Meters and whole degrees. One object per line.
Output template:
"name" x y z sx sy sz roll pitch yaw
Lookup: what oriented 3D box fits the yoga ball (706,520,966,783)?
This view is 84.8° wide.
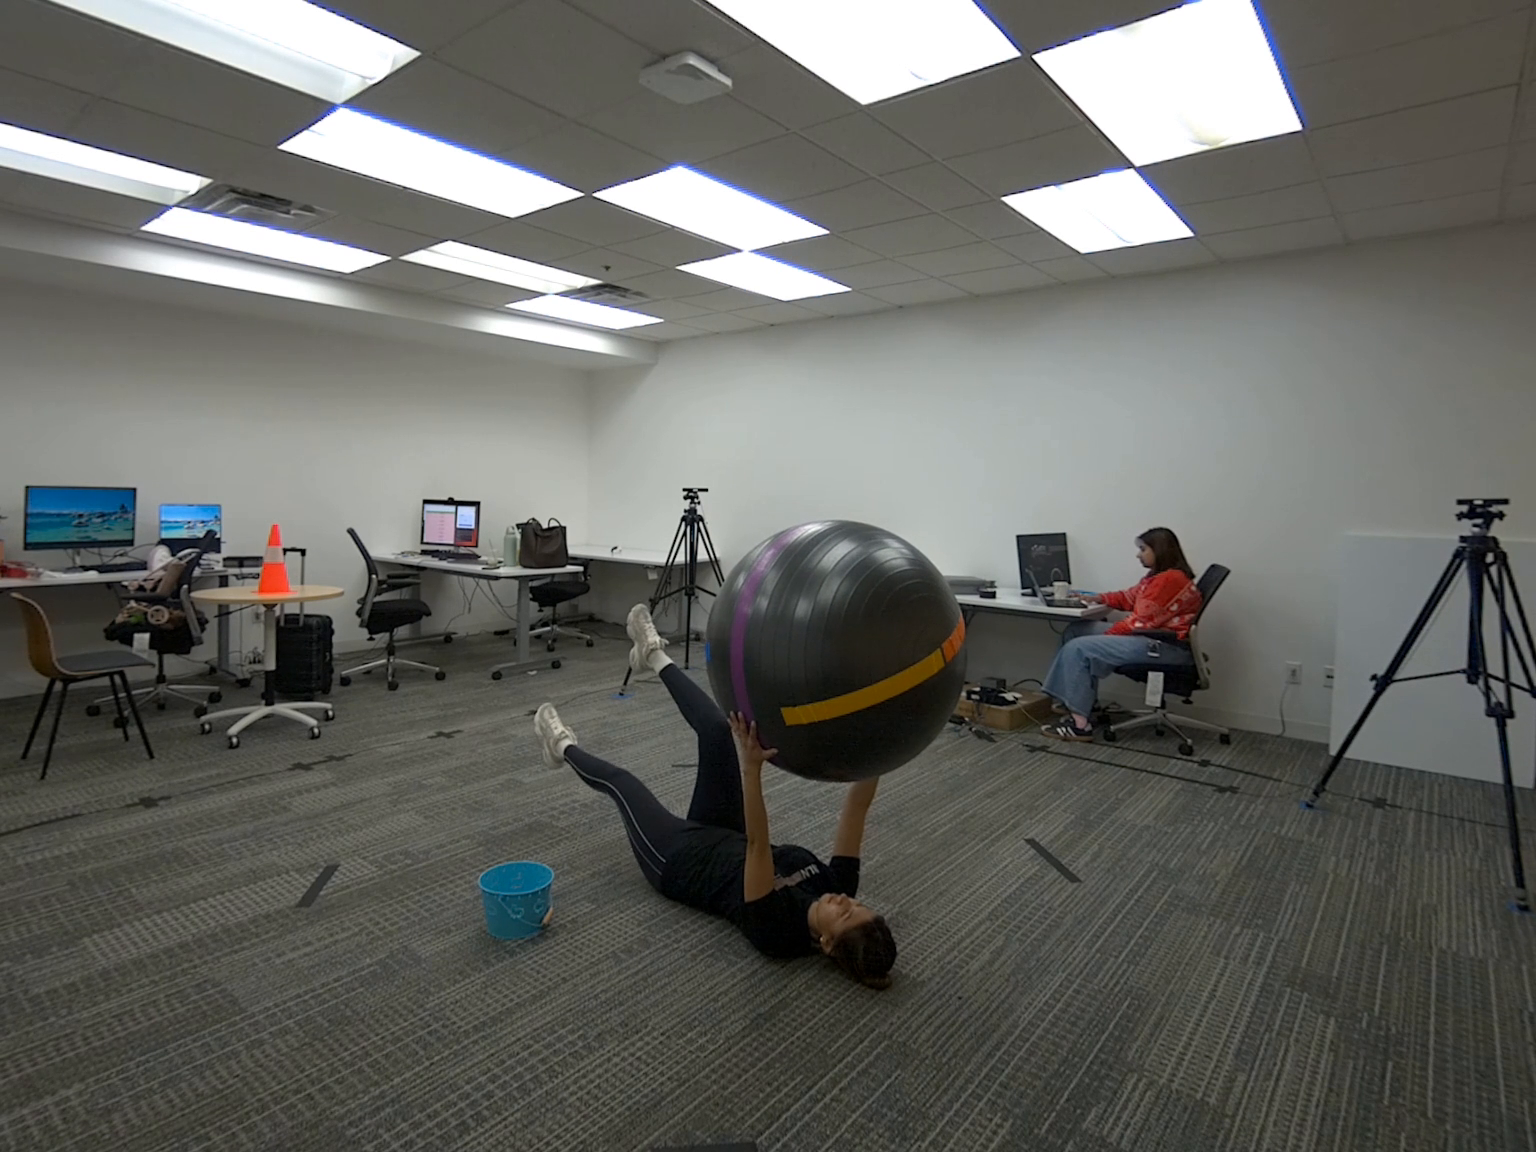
"yoga ball" 0.187 0.215 2.496 0.757 0.756 0.761 -3 3 -2
